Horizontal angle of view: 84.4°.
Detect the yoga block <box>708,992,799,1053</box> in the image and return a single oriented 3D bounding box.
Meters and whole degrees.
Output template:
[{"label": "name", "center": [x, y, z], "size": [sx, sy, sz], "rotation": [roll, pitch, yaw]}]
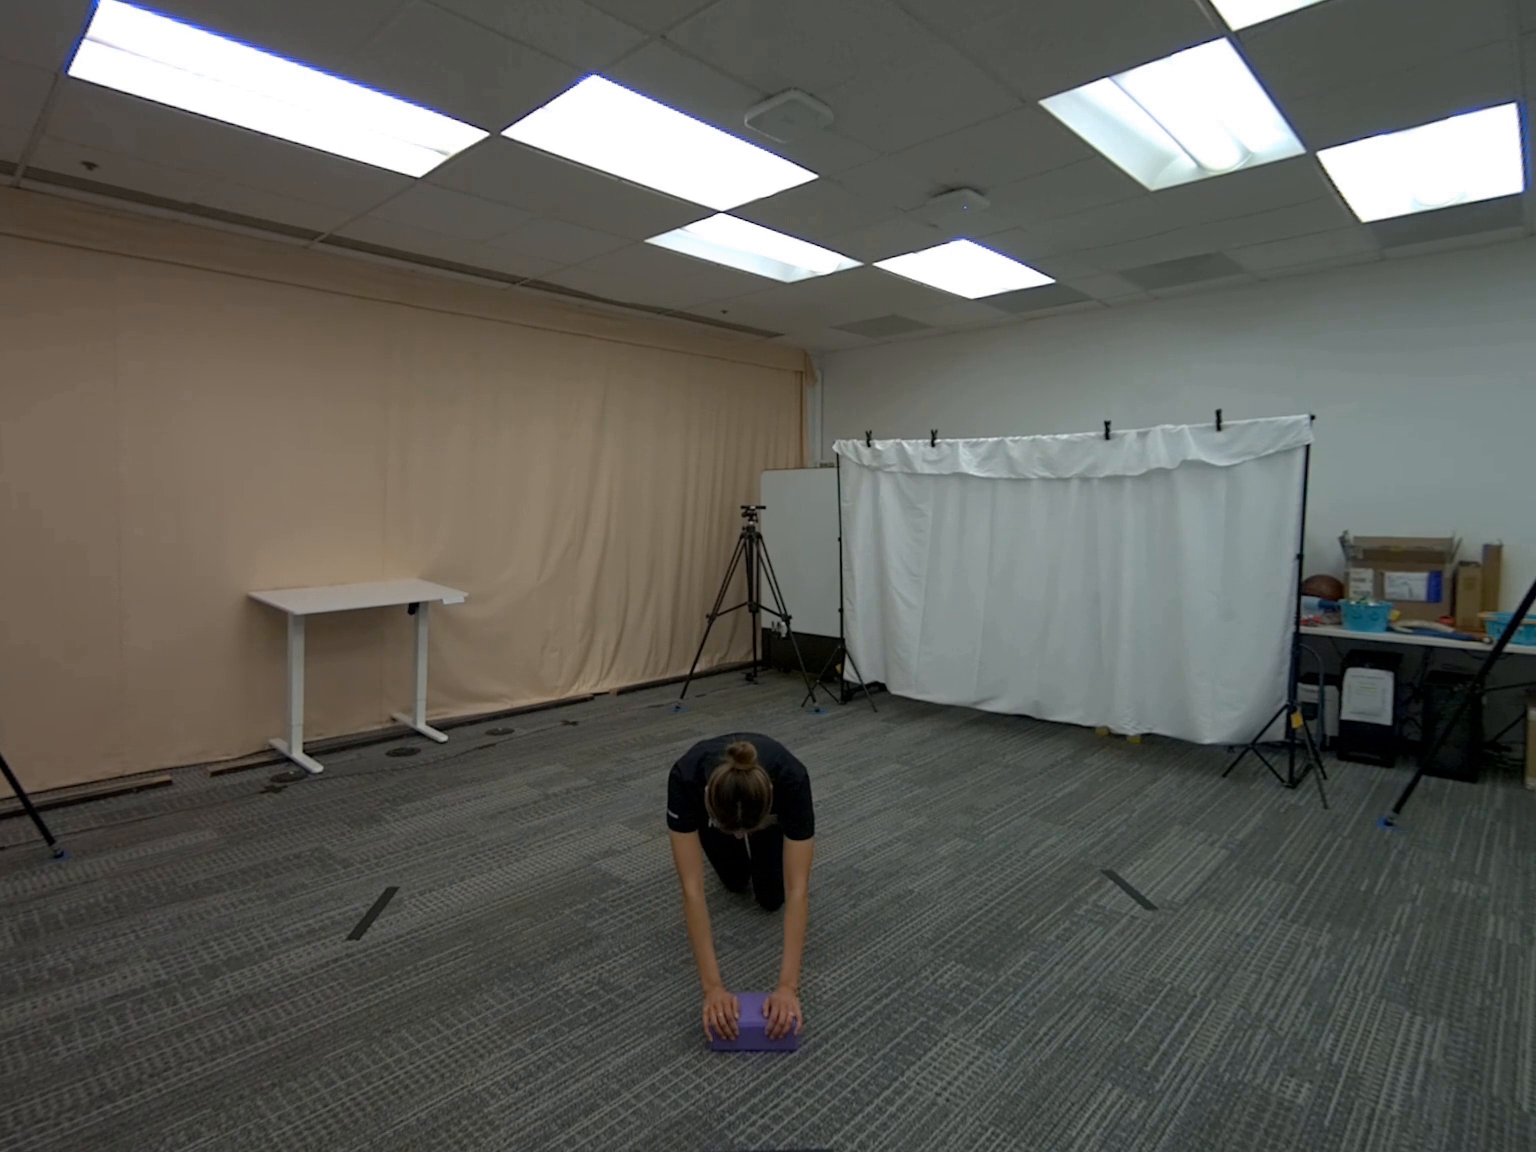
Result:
[{"label": "yoga block", "center": [-0.041, 1.164, 2.218], "size": [0.229, 0.076, 0.150], "rotation": [-1, 8, -1]}]
